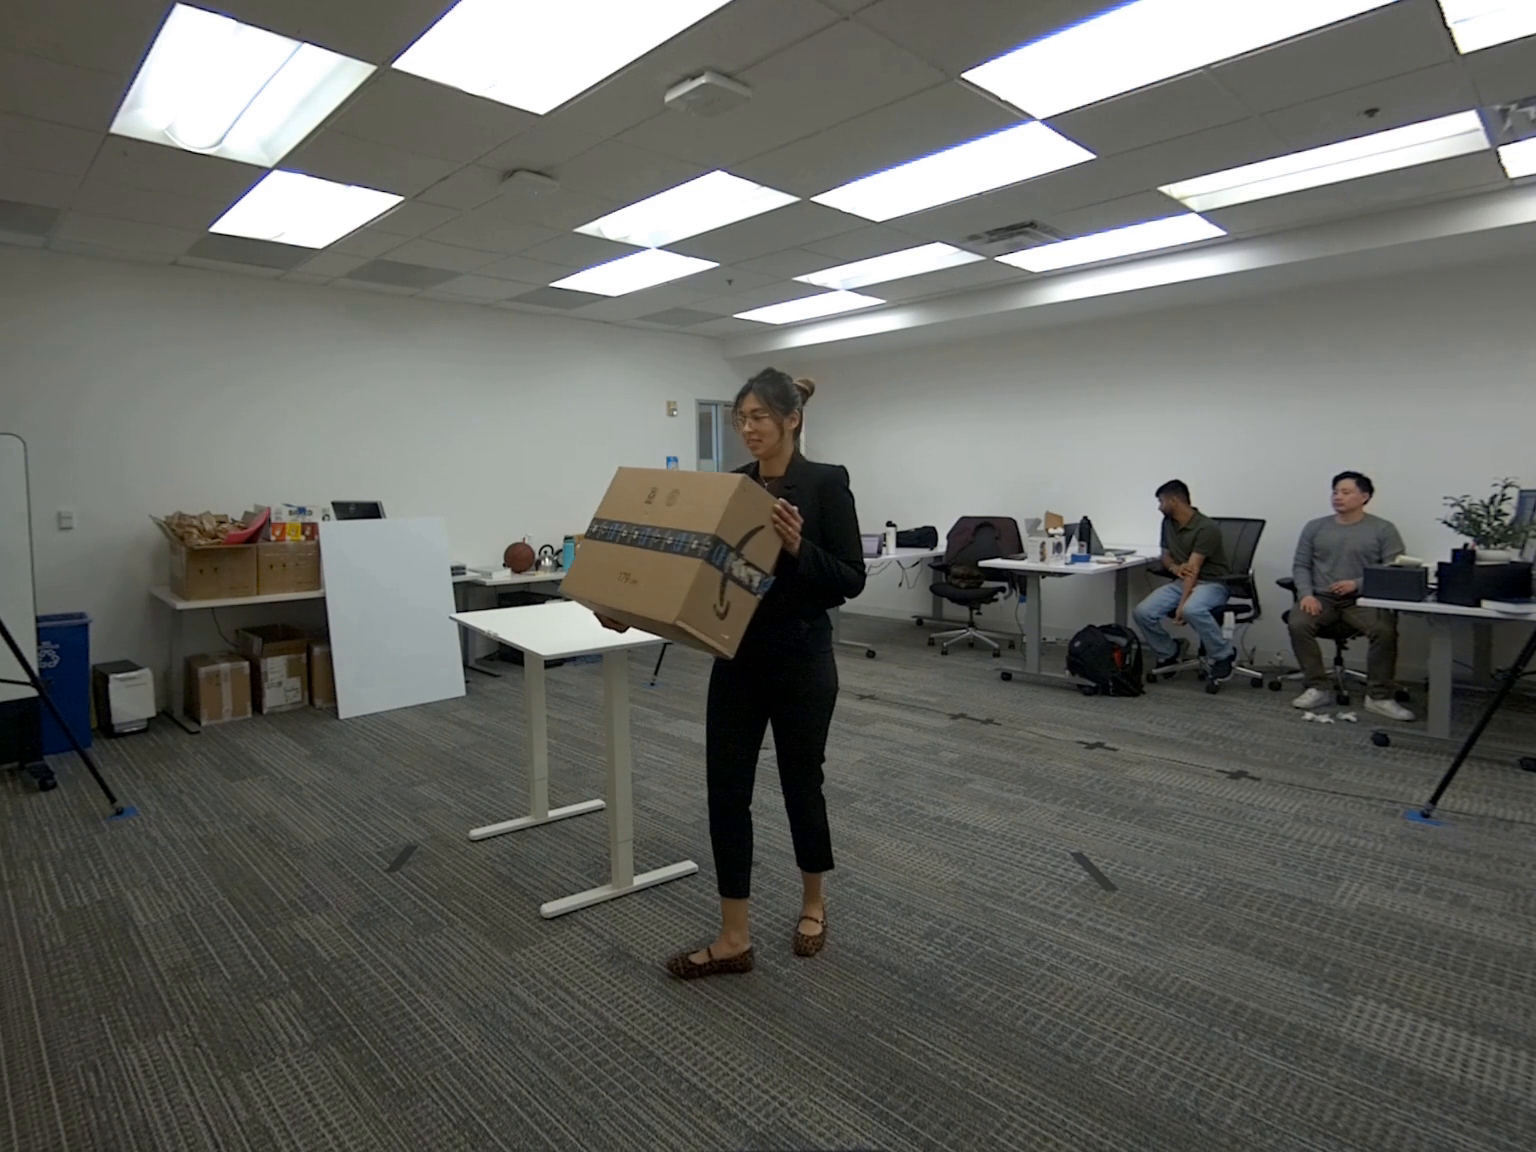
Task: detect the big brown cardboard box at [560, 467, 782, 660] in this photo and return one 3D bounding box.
[{"bbox_3d":[-0.256,-0.060,2.331,0.609,0.420,0.224,11,-19,47],"label":"big brown cardboard box"}]
